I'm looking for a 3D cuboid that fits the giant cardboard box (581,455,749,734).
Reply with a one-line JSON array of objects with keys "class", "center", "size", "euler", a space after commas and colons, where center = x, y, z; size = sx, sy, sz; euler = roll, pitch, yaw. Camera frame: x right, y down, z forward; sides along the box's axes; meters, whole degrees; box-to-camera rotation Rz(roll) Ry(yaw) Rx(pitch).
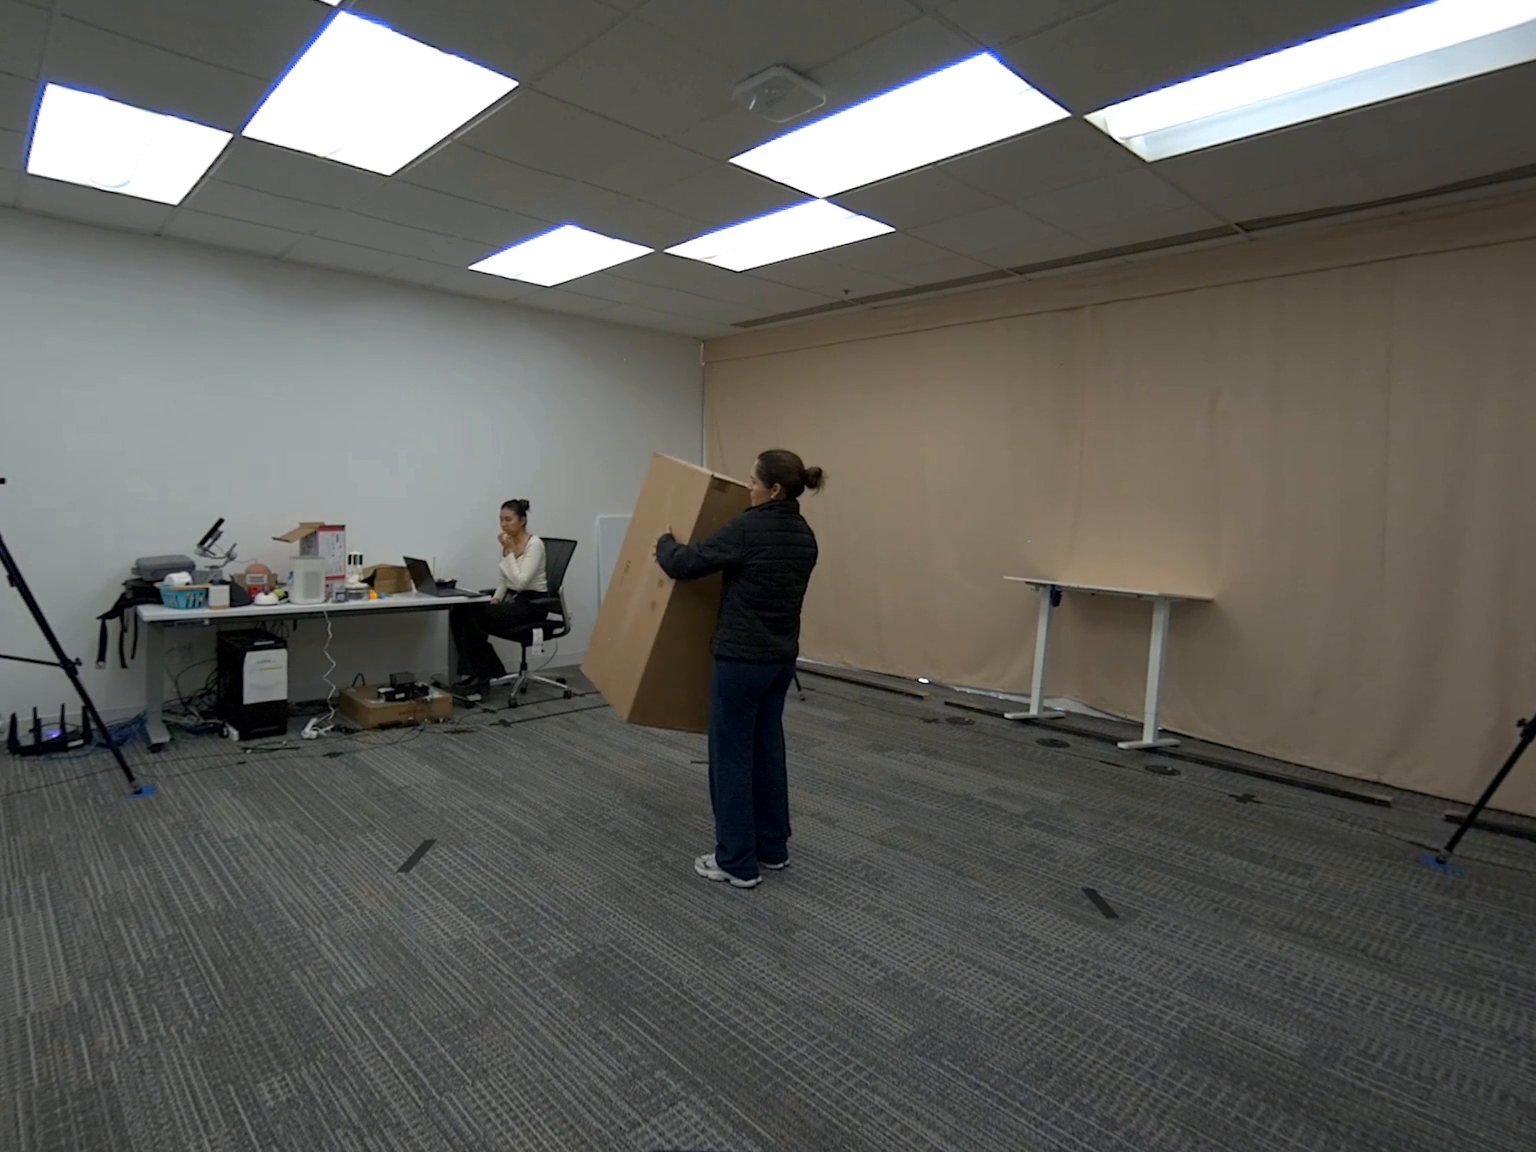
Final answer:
[{"class": "giant cardboard box", "center": [-0.359, 0.055, 3.559], "size": [0.415, 1.023, 0.594], "euler": [17, 6, -33]}]
